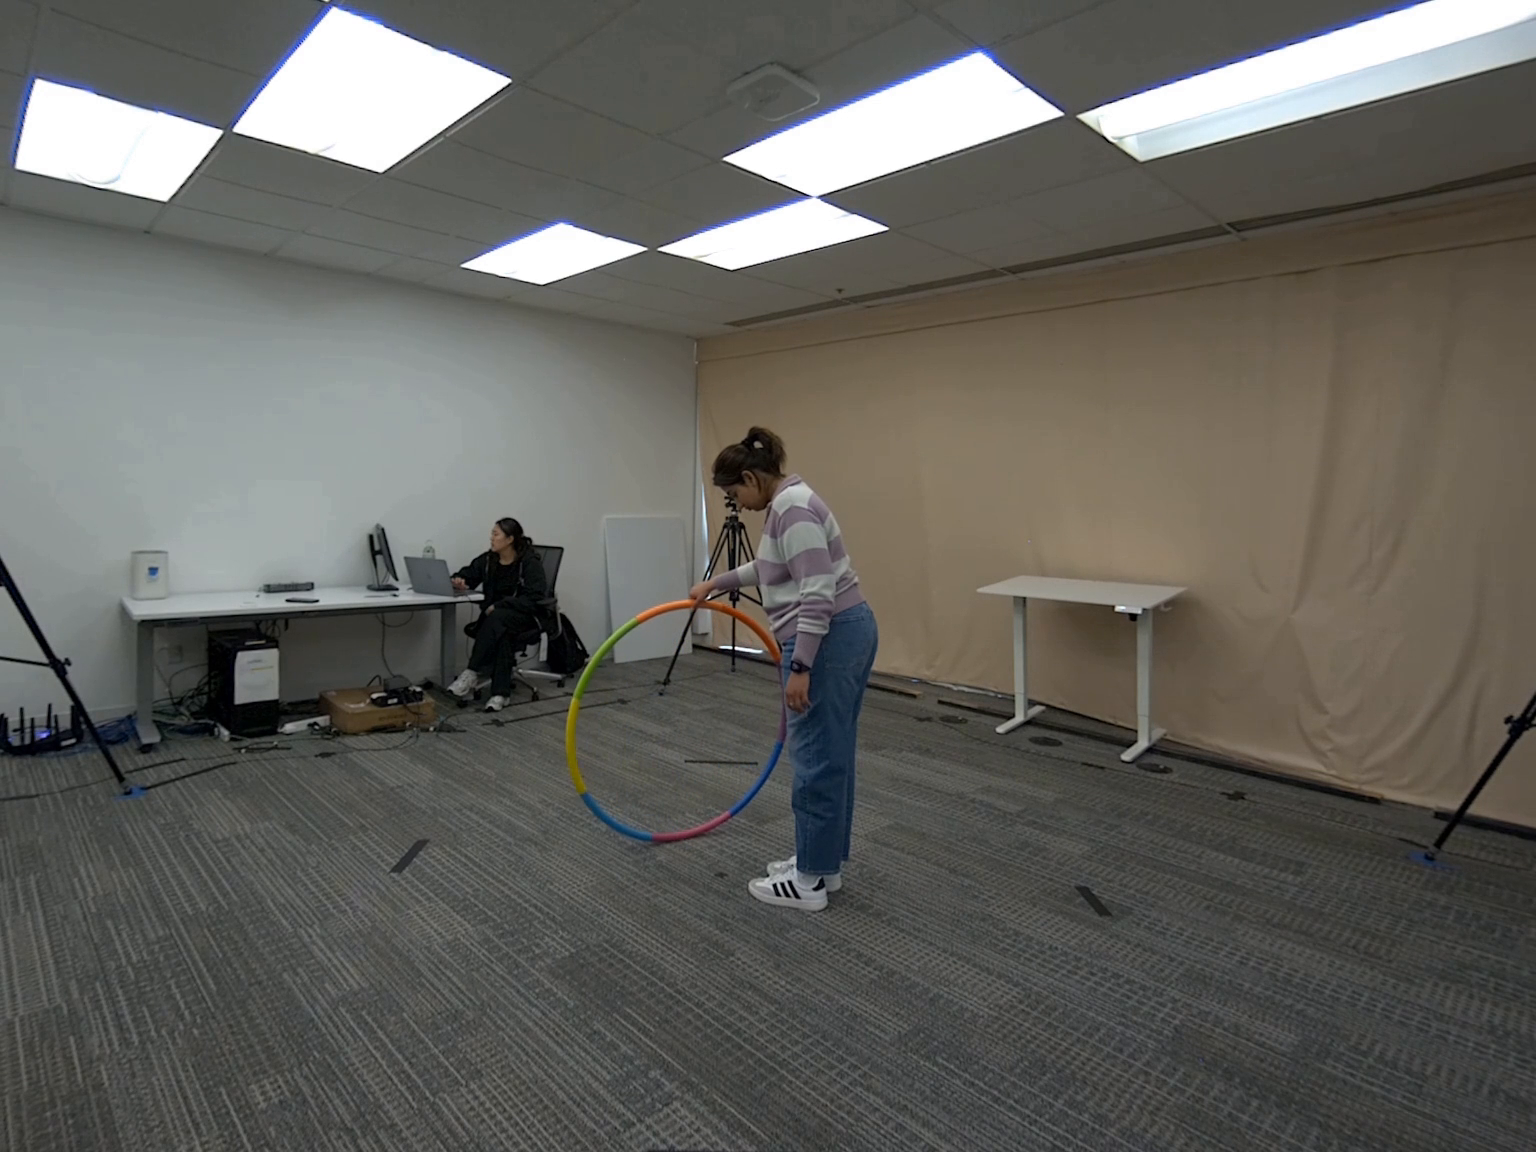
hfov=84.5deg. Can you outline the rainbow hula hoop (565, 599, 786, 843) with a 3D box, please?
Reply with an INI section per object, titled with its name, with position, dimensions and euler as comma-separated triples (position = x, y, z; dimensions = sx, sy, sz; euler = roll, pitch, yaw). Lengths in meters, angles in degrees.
[rainbow hula hoop]
position = -0.332, 0.587, 3.381
dimensions = 0.959, 0.975, 0.036
euler = -1, 6, -29
